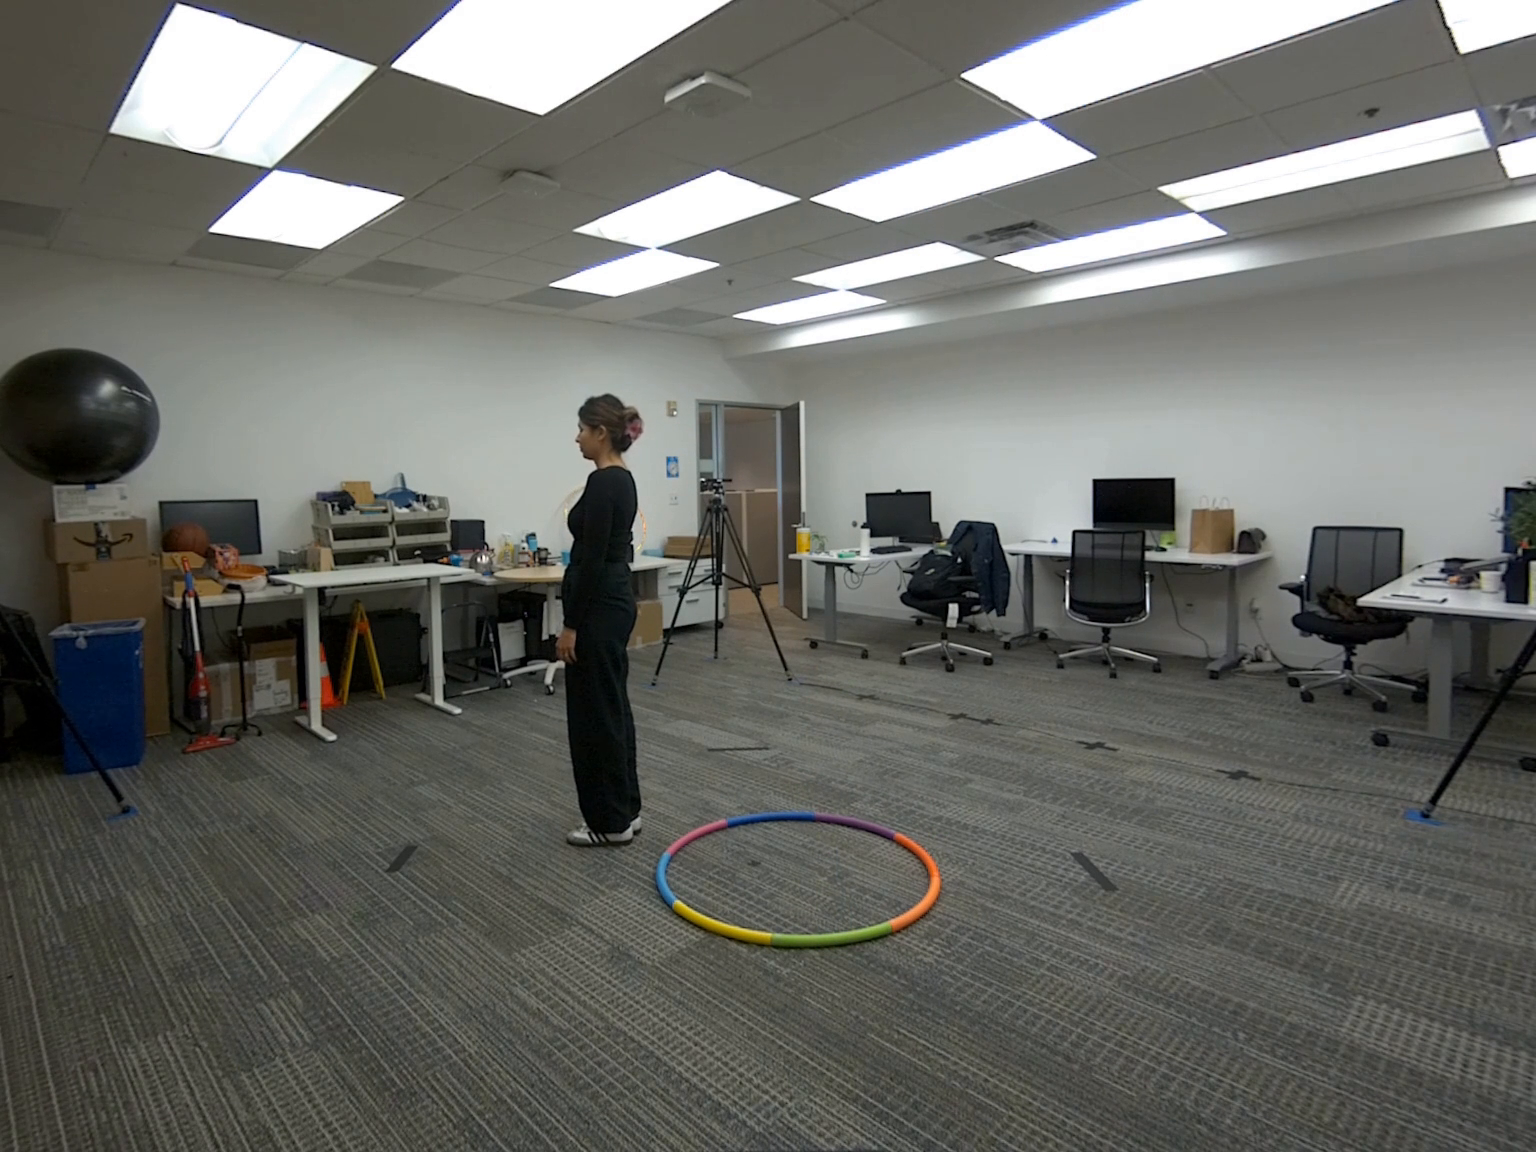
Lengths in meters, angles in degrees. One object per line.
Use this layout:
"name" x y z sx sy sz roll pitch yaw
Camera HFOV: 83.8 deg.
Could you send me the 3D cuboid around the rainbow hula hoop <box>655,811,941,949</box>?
"rainbow hula hoop" 0.099 1.021 3.023 0.978 0.035 0.984 -1 6 -2
